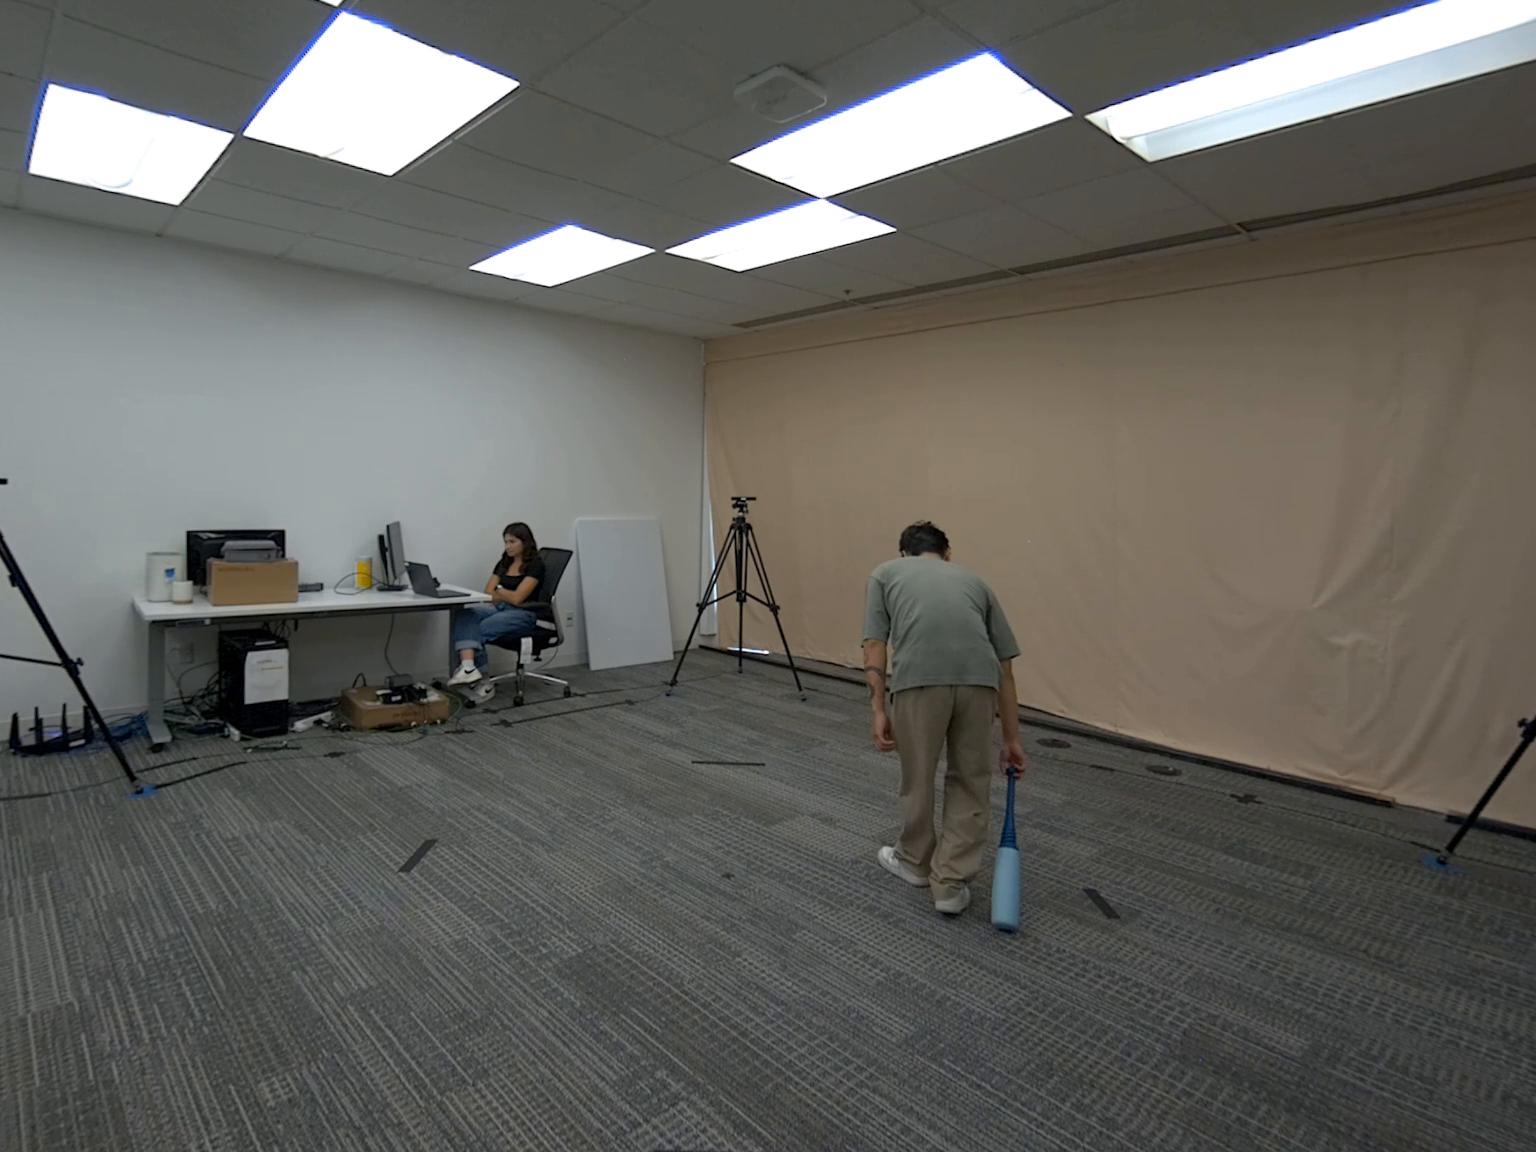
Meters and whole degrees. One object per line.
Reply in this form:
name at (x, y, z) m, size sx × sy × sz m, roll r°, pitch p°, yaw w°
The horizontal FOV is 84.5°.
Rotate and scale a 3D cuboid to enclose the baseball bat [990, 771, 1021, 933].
baseball bat at (0.815, 0.925, 2.873) m, size 0.089 × 0.550 × 0.087 m, roll 11°, pitch -33°, yaw 6°
